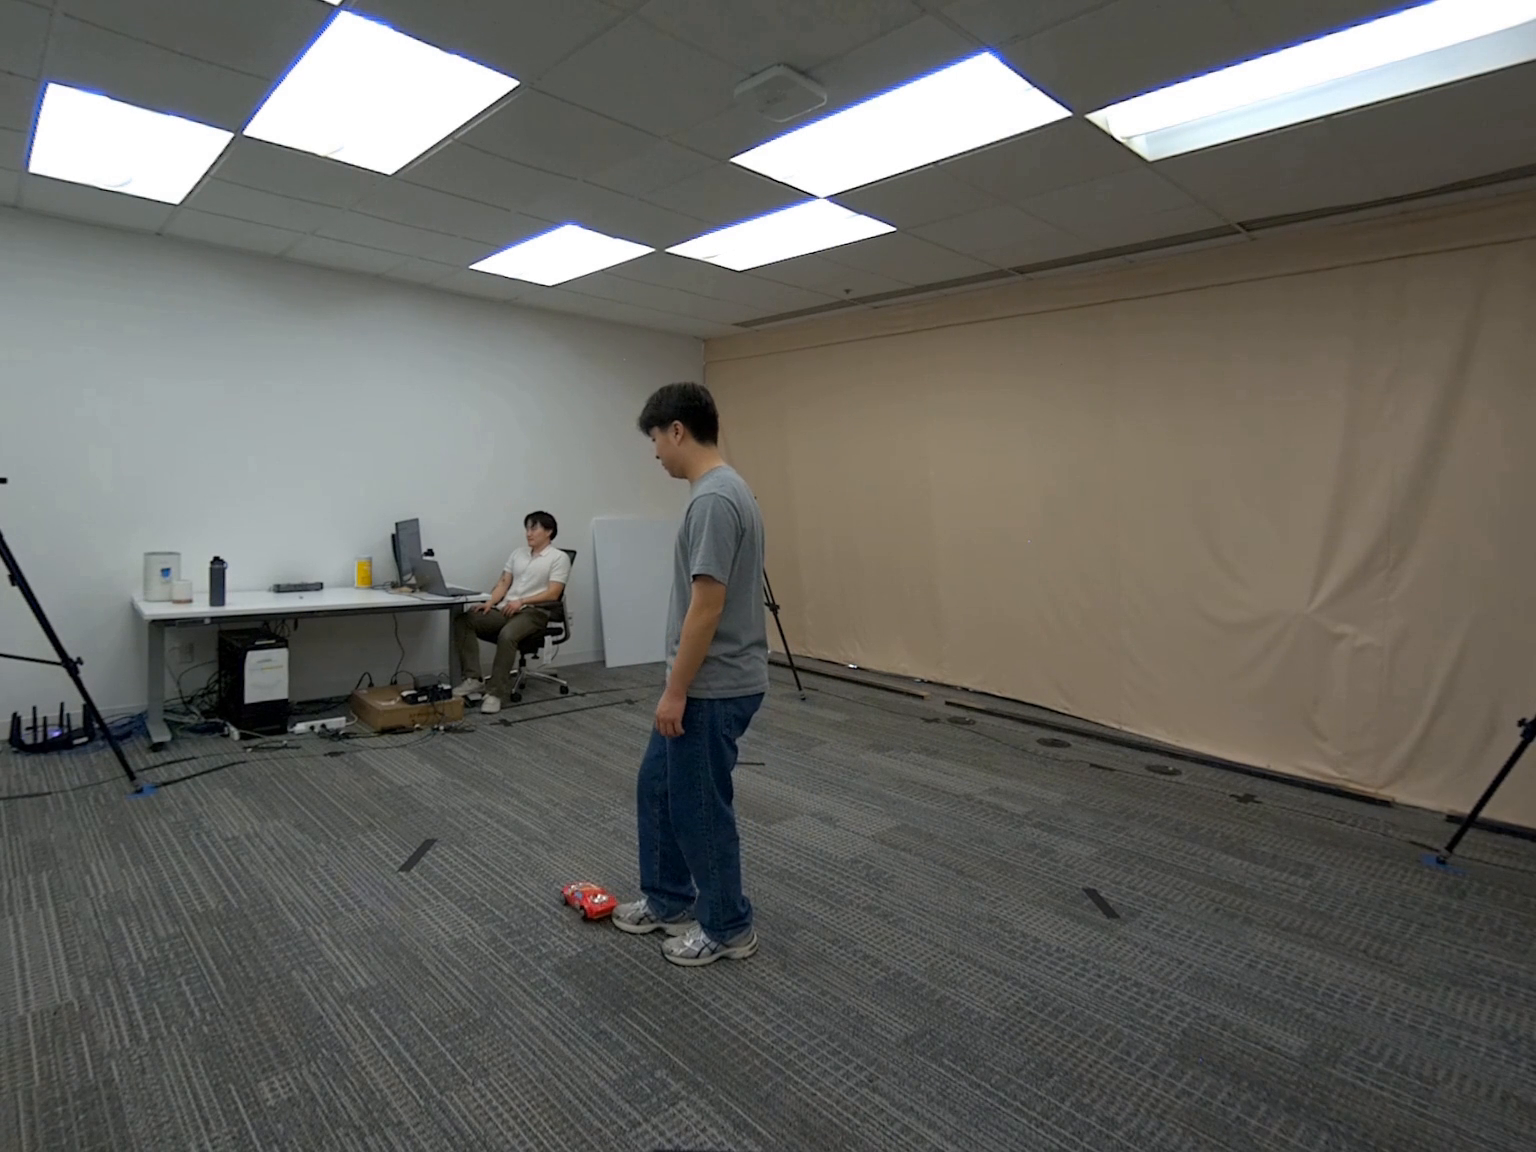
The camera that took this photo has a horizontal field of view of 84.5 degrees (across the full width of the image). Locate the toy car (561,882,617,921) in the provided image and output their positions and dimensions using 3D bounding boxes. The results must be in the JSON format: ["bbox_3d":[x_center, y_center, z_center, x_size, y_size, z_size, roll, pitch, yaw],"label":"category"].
[{"bbox_3d":[-0.601,1.090,2.807,0.127,0.083,0.259,-3,-6,-38],"label":"toy car"}]
